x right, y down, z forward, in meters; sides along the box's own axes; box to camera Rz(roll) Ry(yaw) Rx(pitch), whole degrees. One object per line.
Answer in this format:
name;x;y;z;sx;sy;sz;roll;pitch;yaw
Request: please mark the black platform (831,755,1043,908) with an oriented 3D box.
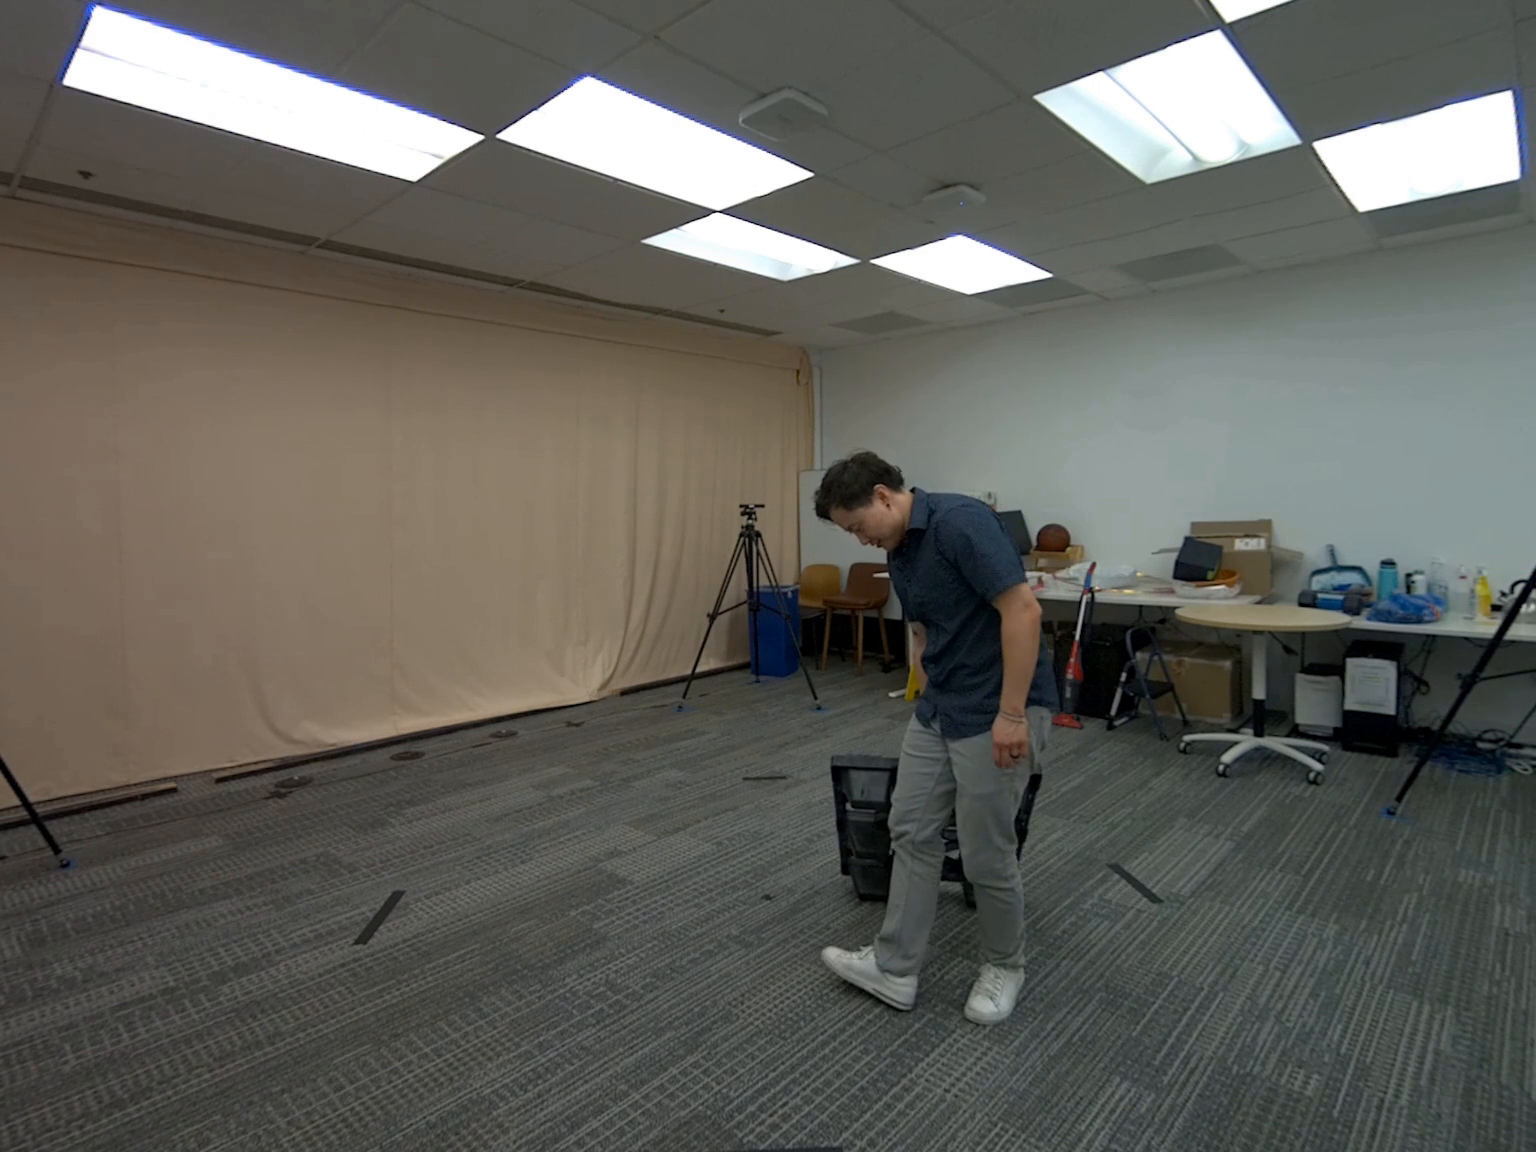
black platform;0.525;0.845;2.696;0.612;0.786;0.145;1;47;10
